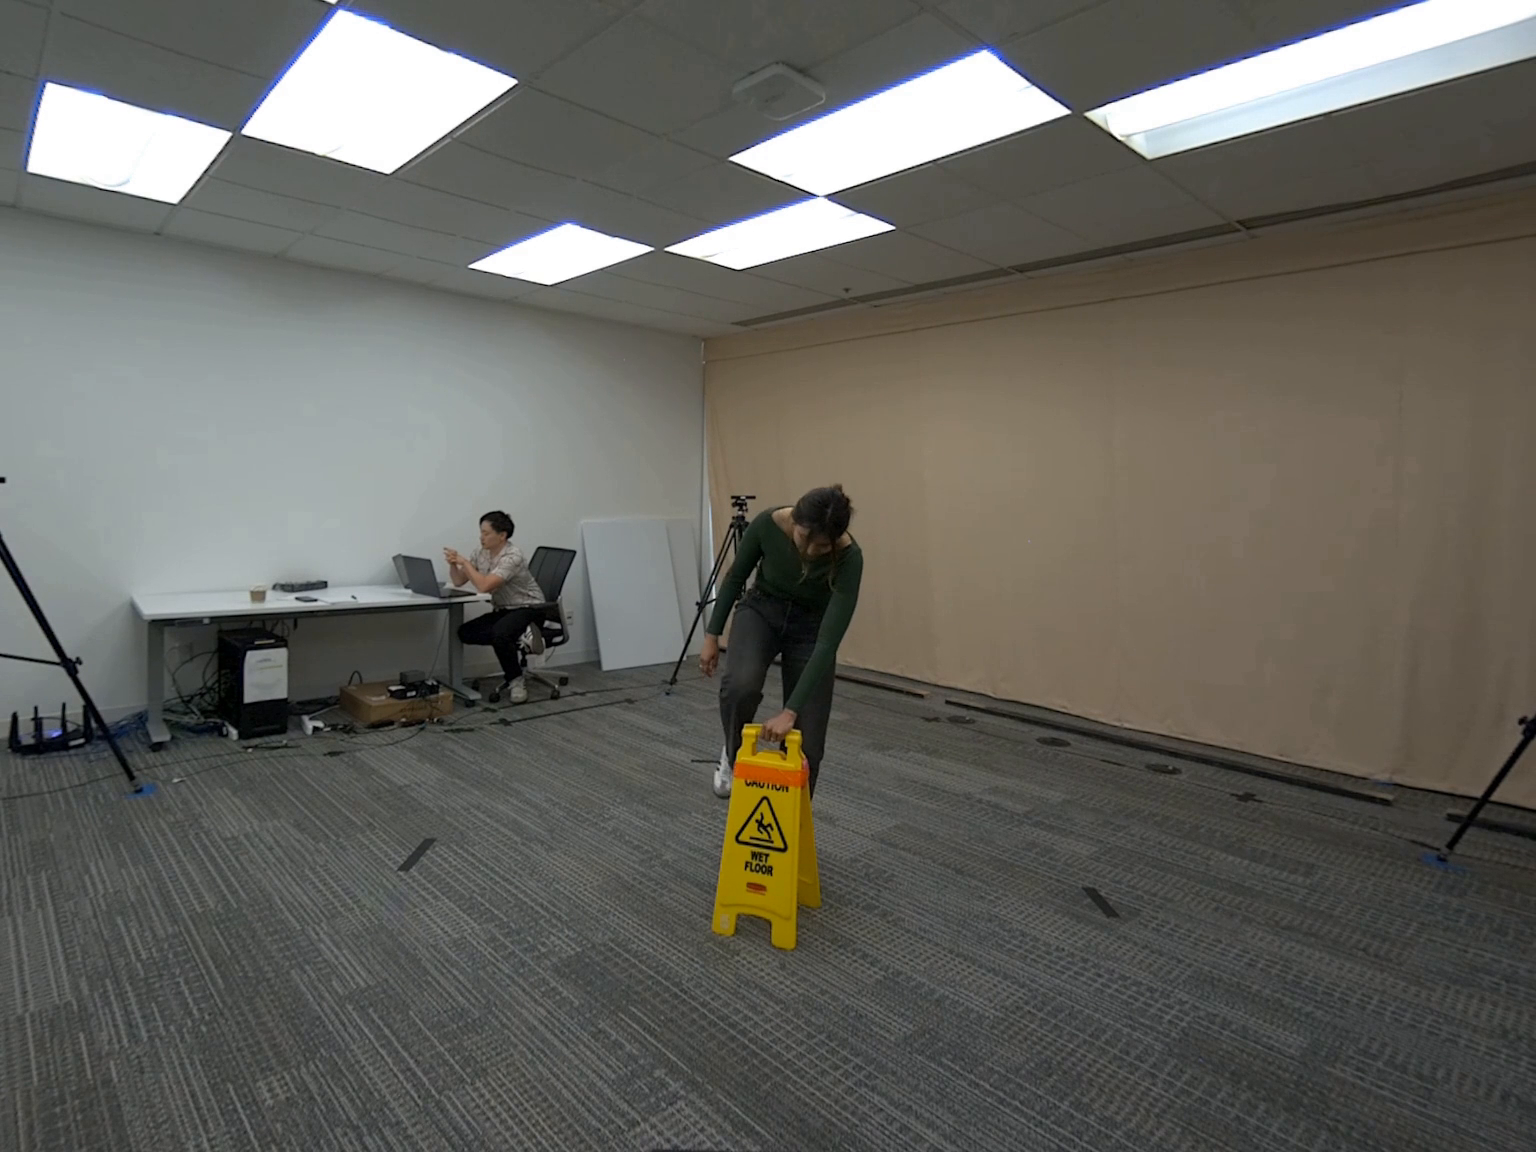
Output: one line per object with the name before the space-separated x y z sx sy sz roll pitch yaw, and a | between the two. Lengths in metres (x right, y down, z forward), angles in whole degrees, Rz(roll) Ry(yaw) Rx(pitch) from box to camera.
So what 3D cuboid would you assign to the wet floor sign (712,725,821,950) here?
wet floor sign | 0.004 0.813 2.763 0.287 0.644 0.285 3 3 21
